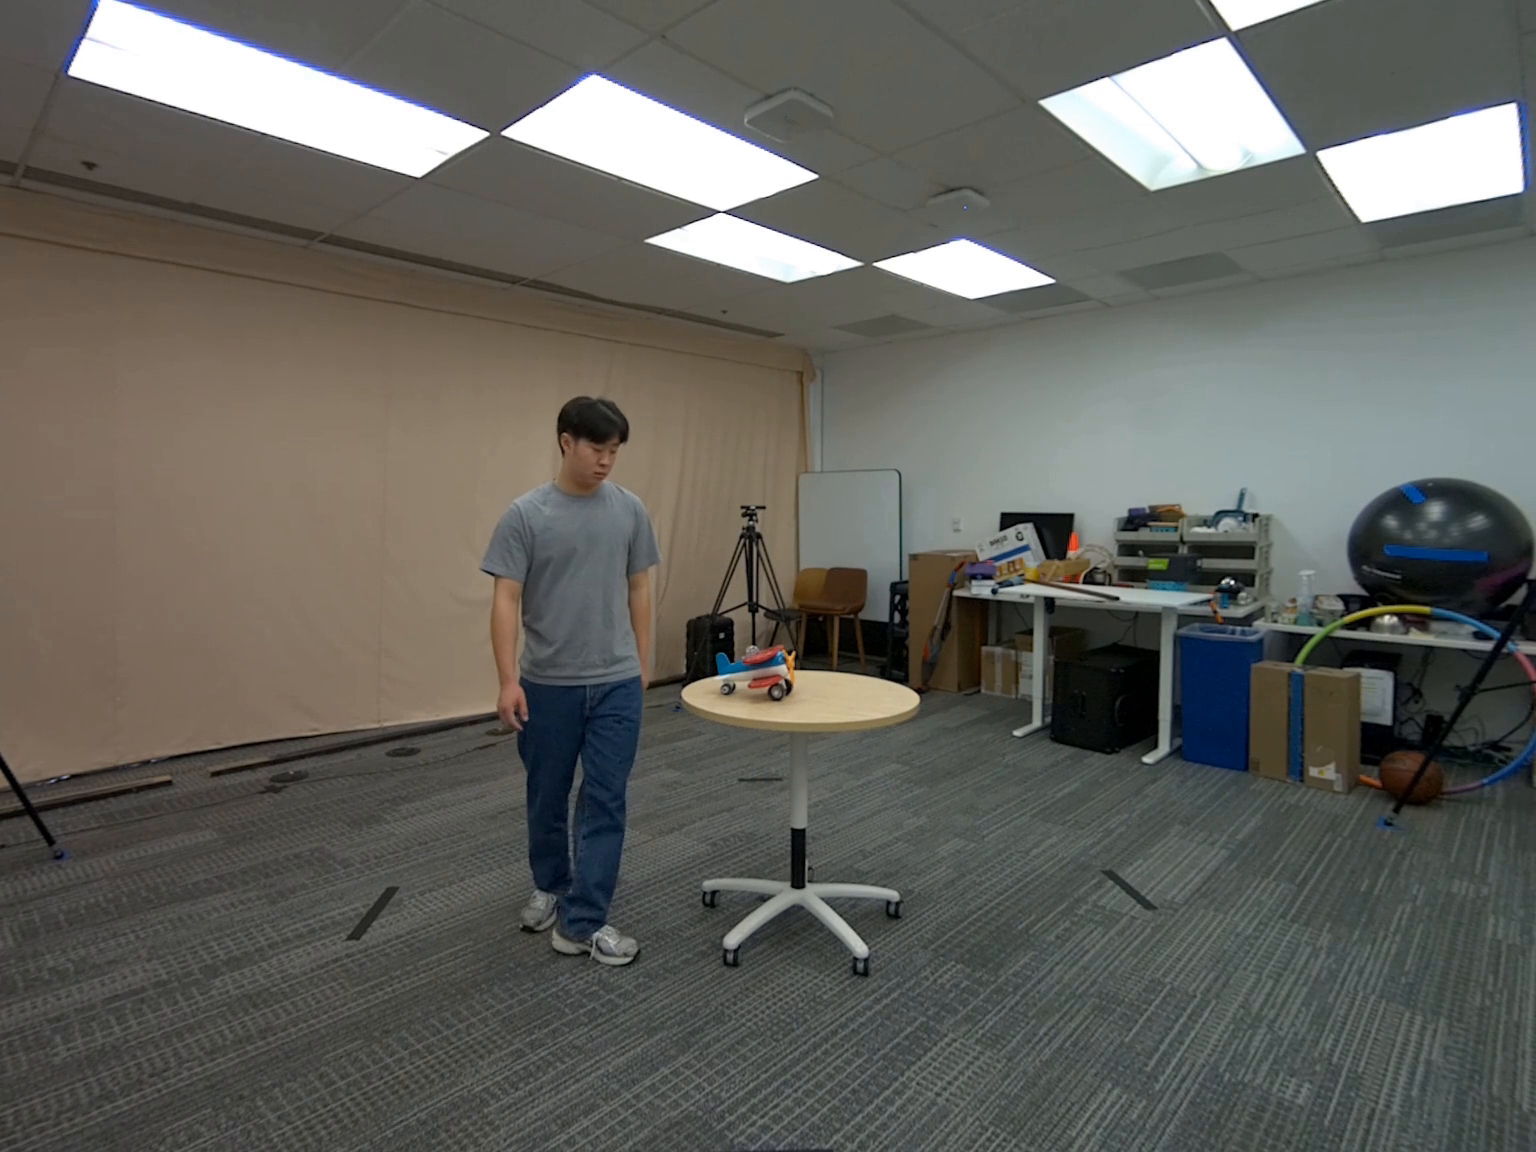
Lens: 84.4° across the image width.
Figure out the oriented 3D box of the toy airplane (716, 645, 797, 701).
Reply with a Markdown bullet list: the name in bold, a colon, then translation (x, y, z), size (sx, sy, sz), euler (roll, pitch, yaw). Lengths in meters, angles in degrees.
- **toy airplane**: translation (-0.038, 0.309, 2.666), size (0.256, 0.156, 0.254), euler (0, 3, -12)
